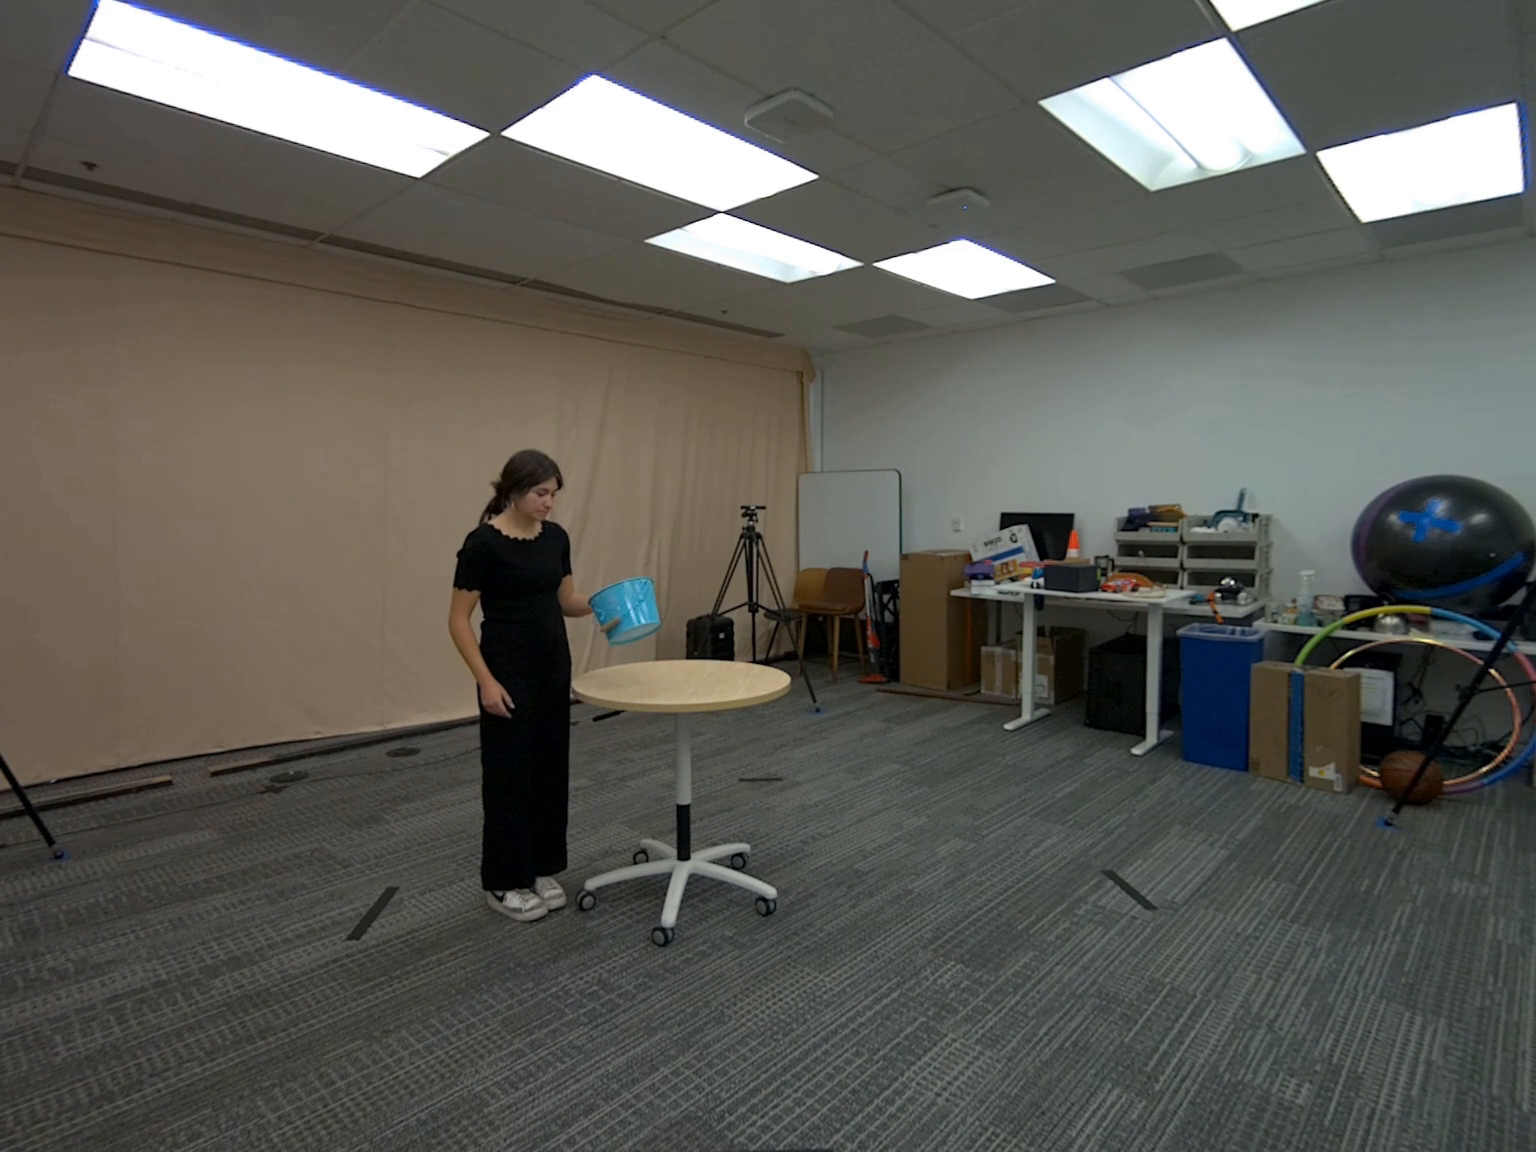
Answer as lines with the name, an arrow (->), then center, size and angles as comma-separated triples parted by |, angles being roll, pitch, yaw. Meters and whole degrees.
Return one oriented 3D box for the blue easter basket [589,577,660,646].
blue easter basket -> -0.474, 0.128, 2.789 | 0.242, 0.158, 0.241 | -19, -15, -7
